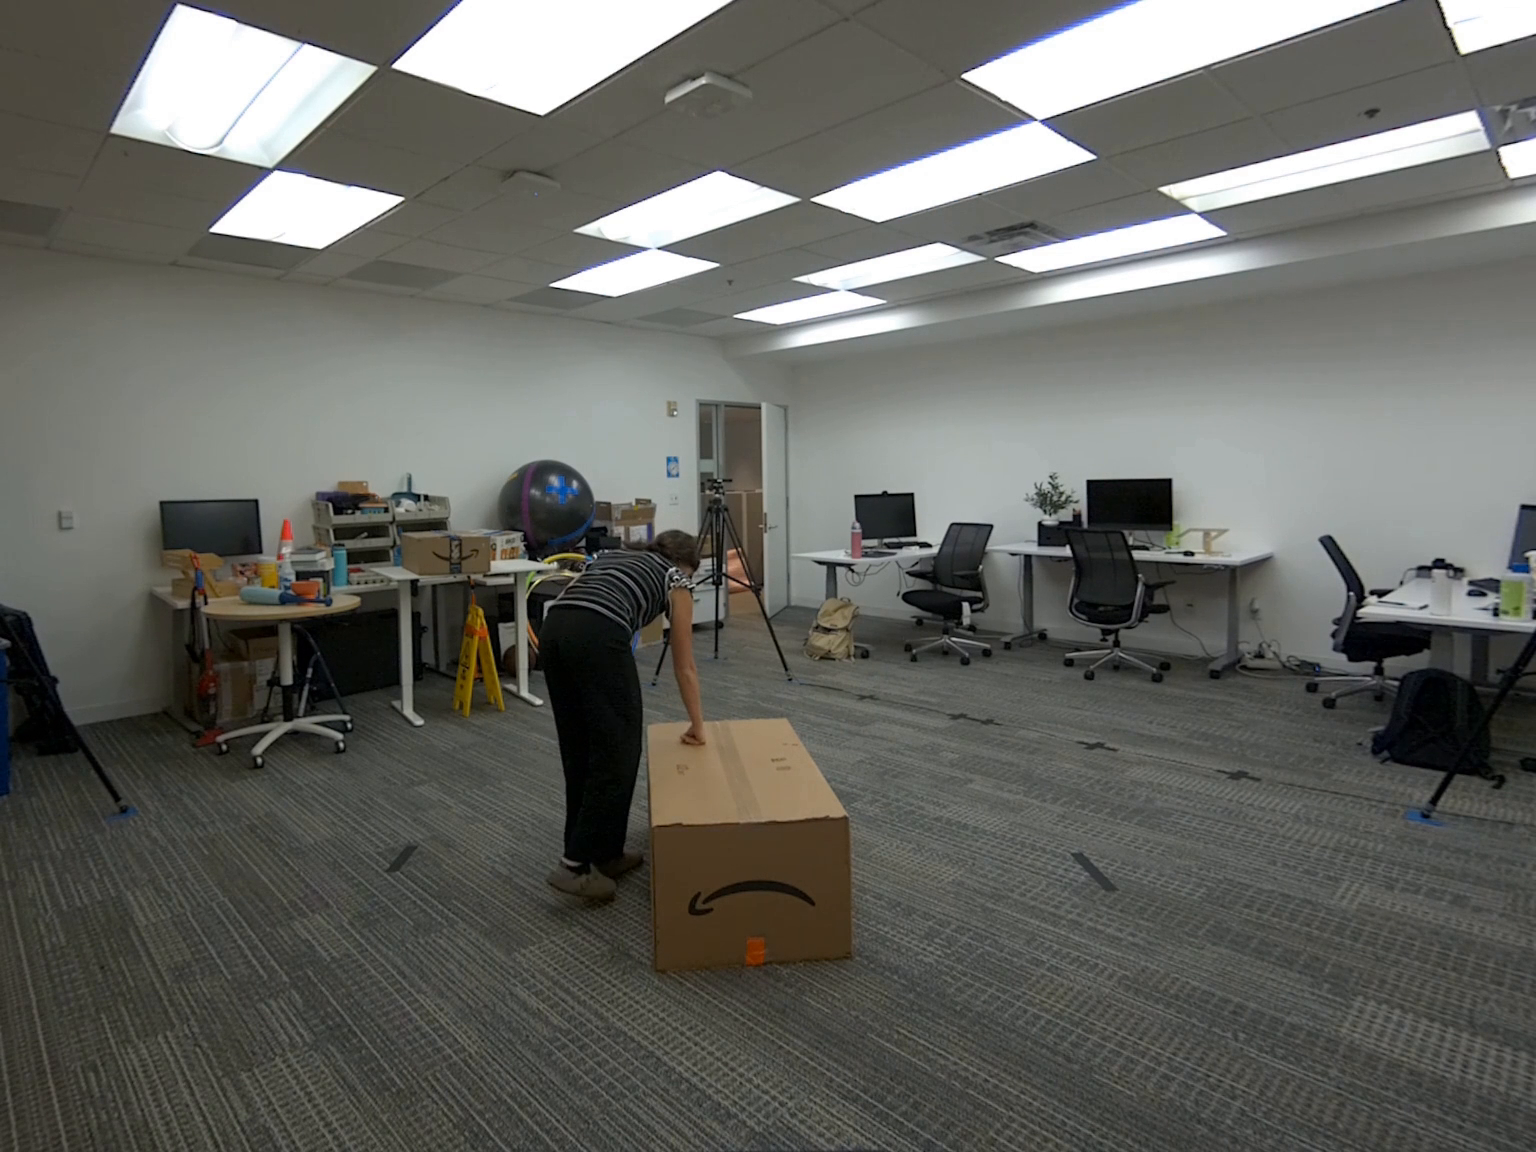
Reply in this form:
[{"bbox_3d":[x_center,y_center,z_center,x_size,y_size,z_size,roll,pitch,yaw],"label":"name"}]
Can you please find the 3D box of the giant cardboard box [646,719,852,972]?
[{"bbox_3d":[-0.119,0.854,2.947,0.574,0.424,1.038,-2,6,-8],"label":"giant cardboard box"}]
